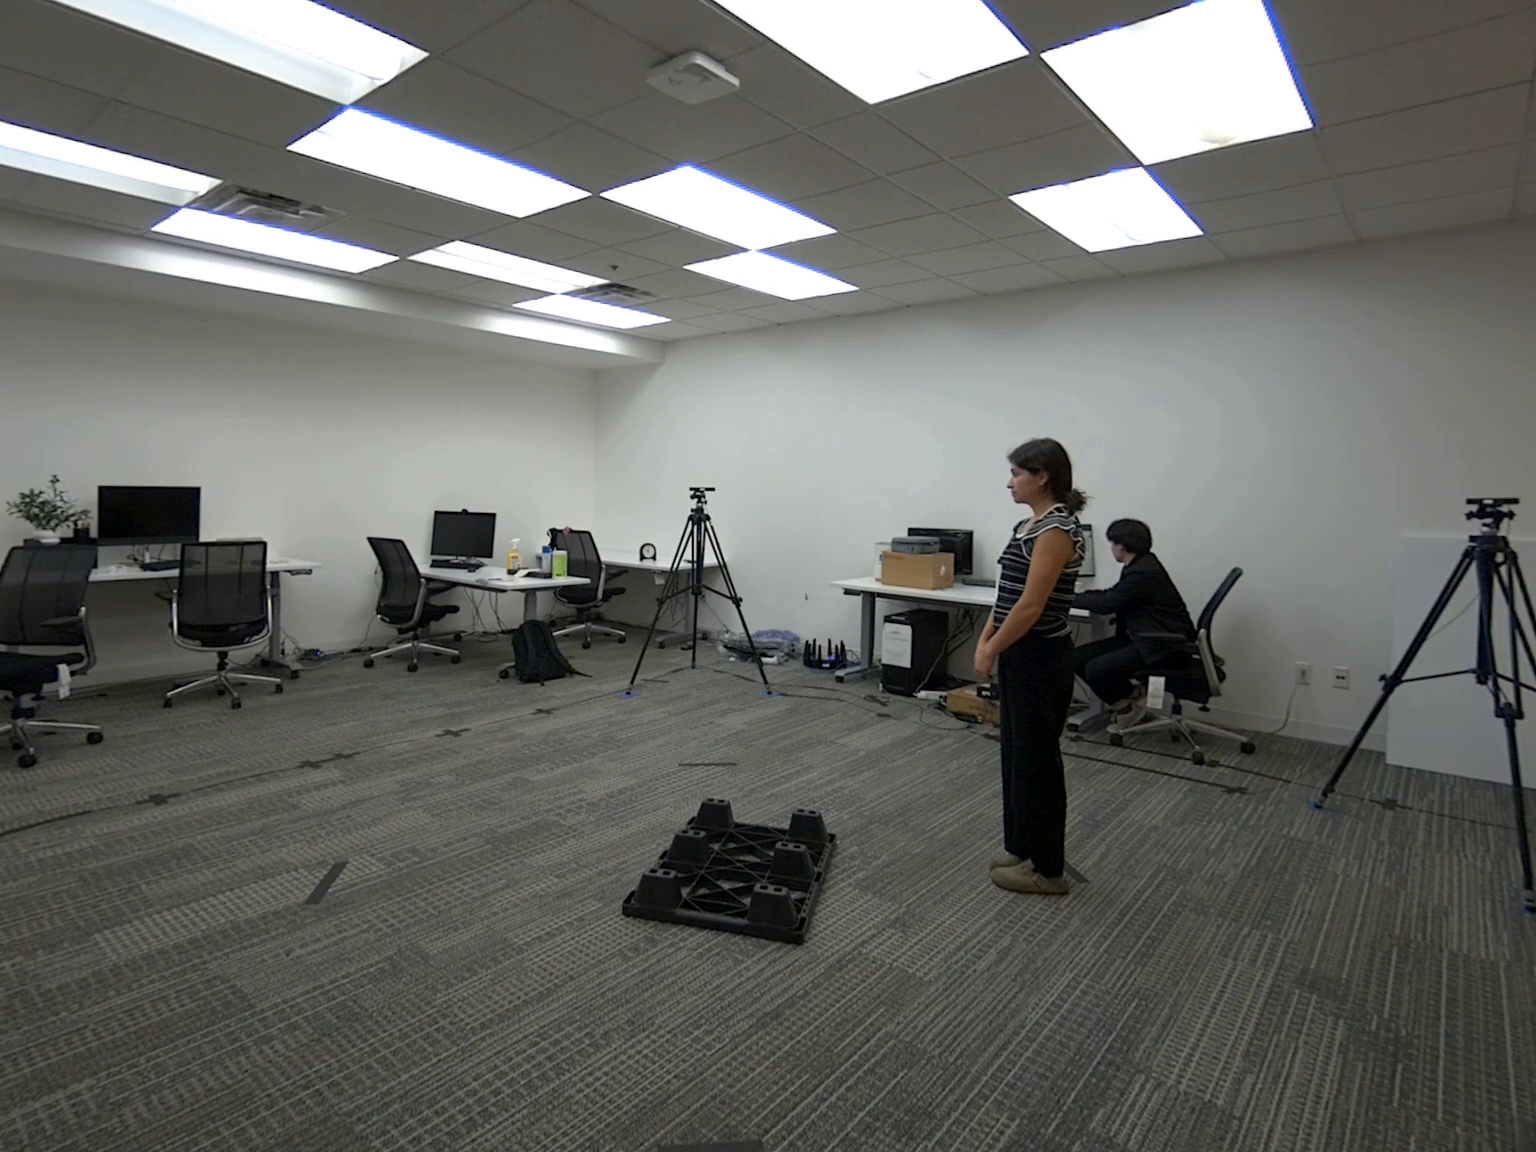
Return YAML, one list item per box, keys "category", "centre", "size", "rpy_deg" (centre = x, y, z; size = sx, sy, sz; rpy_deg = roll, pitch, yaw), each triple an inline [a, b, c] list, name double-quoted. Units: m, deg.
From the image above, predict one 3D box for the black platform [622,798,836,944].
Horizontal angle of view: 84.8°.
- category: "black platform"
  centre: [-0.107, 1.008, 3.050]
  size: [0.615, 0.143, 0.797]
  rpy_deg: [2, 6, 13]
